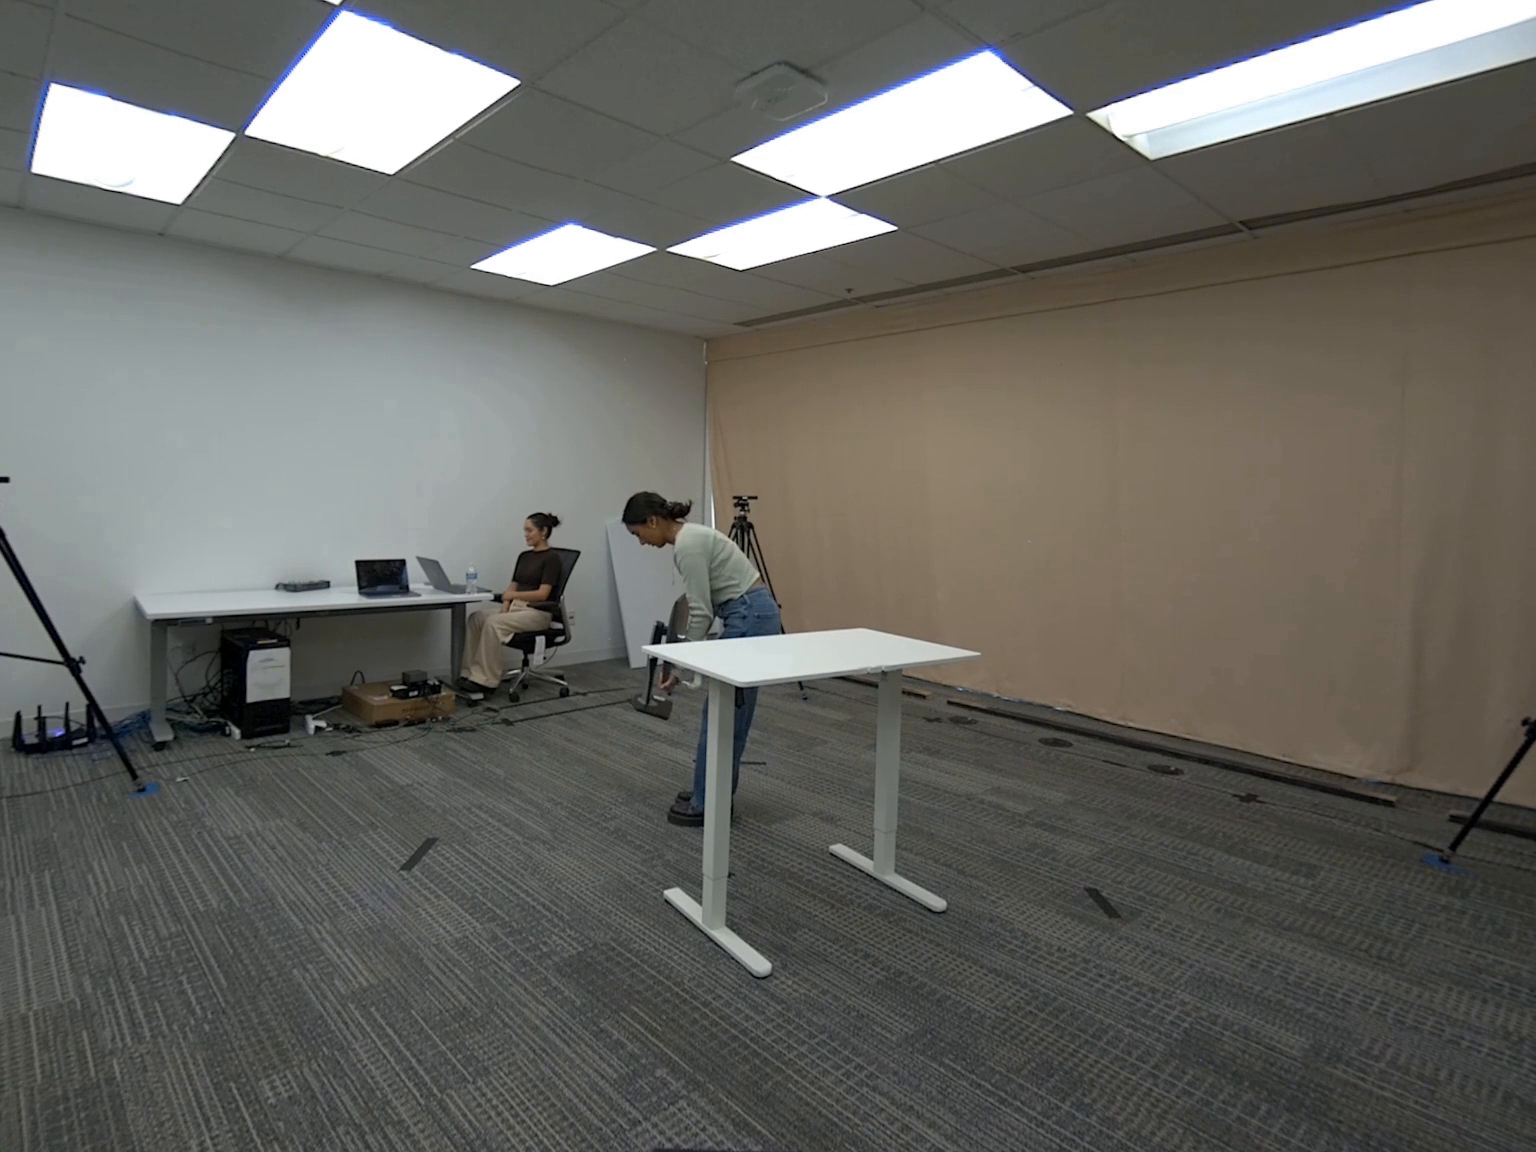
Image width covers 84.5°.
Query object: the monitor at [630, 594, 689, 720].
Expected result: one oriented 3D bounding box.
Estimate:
[{"bbox_3d":[-0.443,0.322,3.621,0.187,0.521,0.541,17,4,-3],"label":"monitor"}]
